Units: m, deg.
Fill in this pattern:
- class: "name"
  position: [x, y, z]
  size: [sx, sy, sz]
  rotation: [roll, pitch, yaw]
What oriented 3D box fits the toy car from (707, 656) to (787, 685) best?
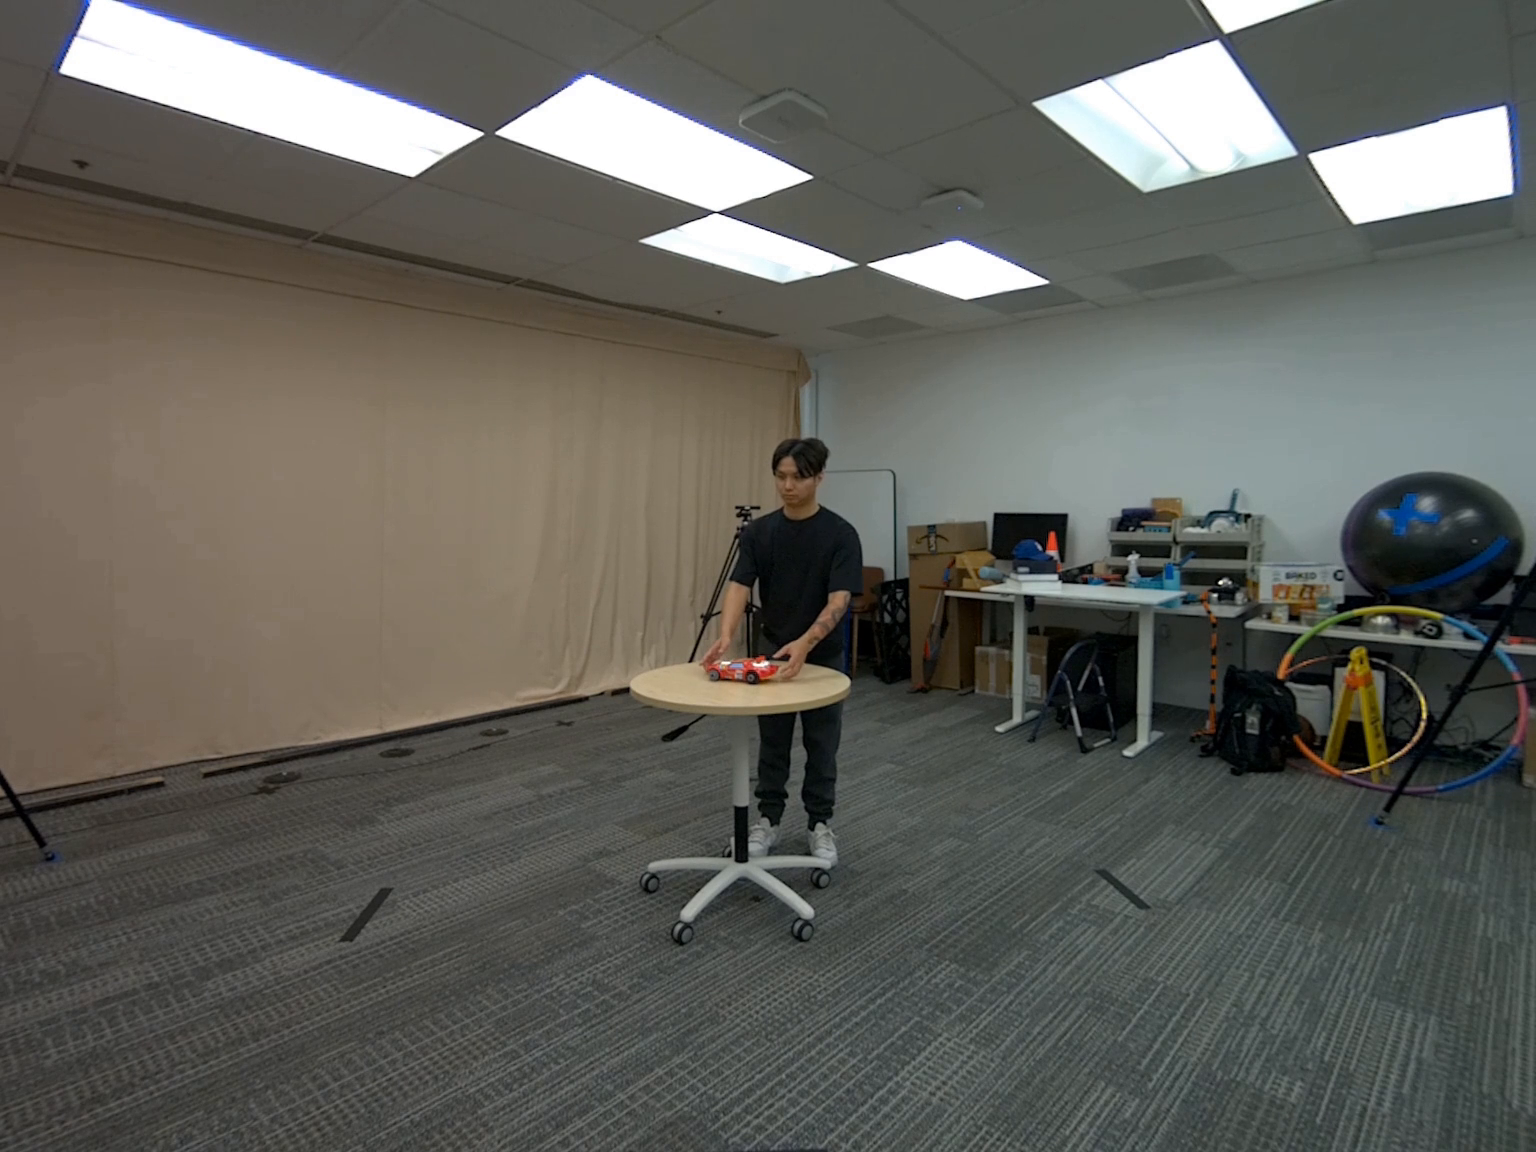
- class: "toy car"
  position: [-0.082, 0.337, 2.932]
  size: [0.260, 0.083, 0.127]
  rotation: [-11, 0, 27]
